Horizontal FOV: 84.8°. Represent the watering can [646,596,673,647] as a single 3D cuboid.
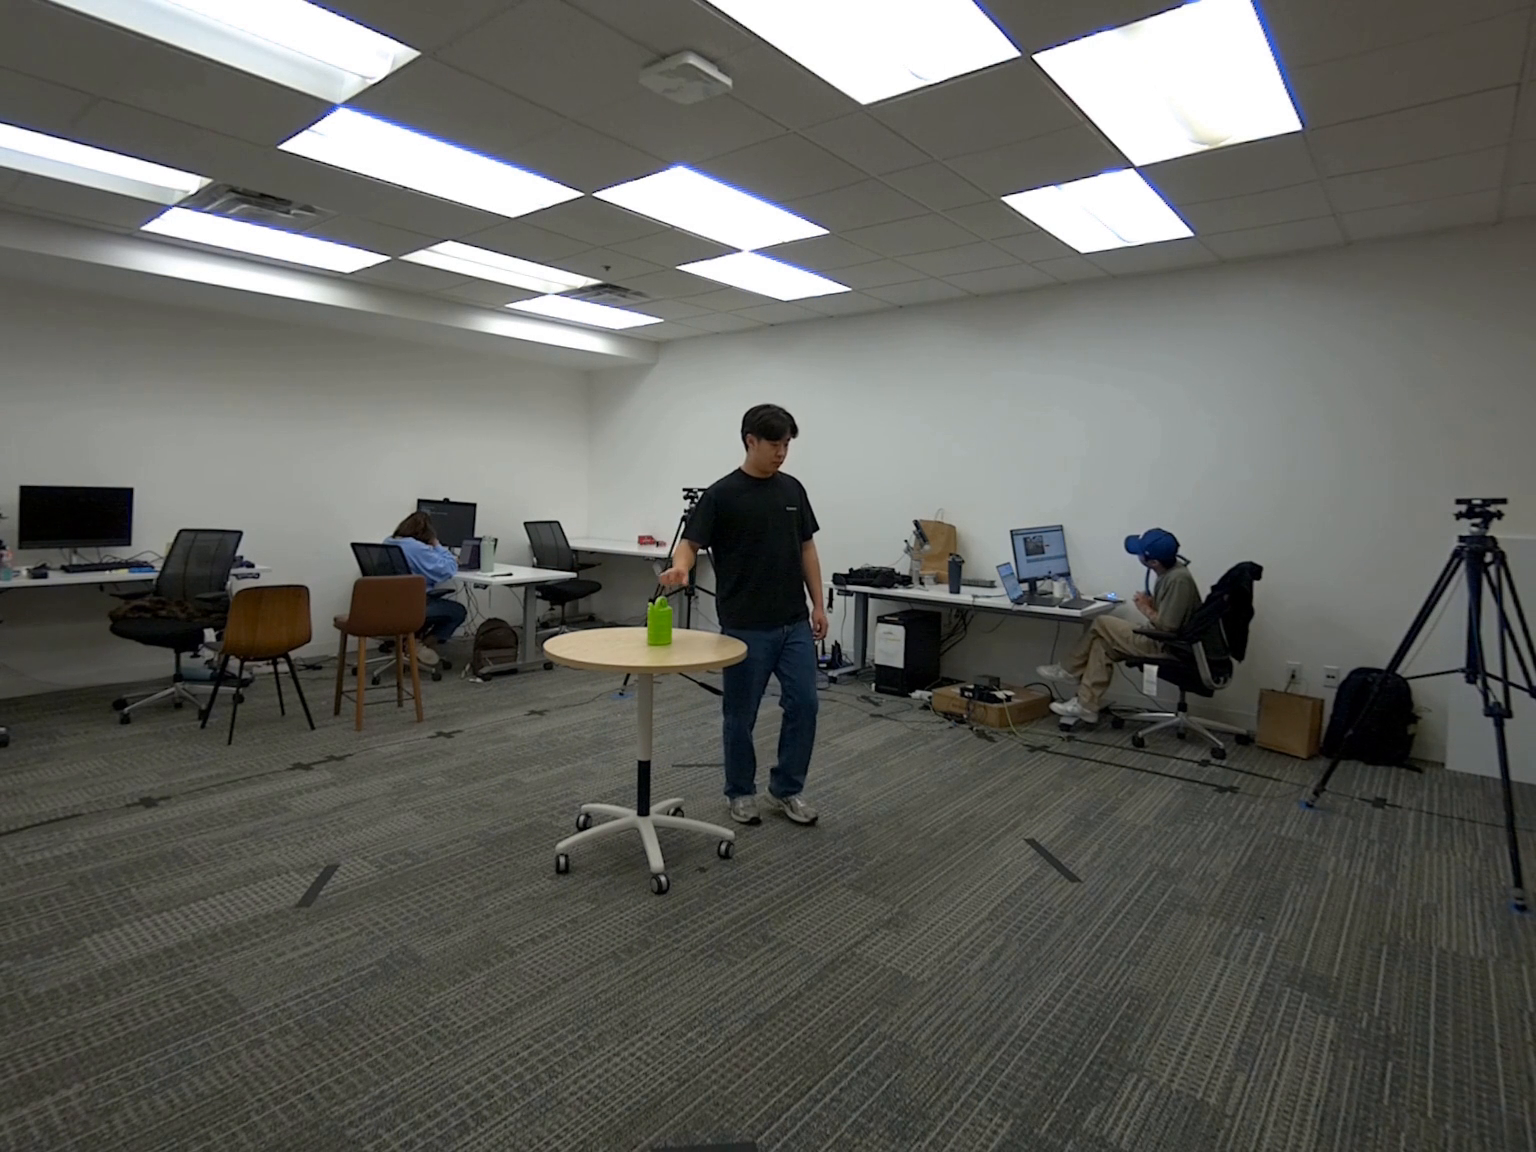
[{"bbox_3d":[-0.444,0.174,3.223,0.100,0.176,0.272,3,3,21],"label":"watering can"}]
